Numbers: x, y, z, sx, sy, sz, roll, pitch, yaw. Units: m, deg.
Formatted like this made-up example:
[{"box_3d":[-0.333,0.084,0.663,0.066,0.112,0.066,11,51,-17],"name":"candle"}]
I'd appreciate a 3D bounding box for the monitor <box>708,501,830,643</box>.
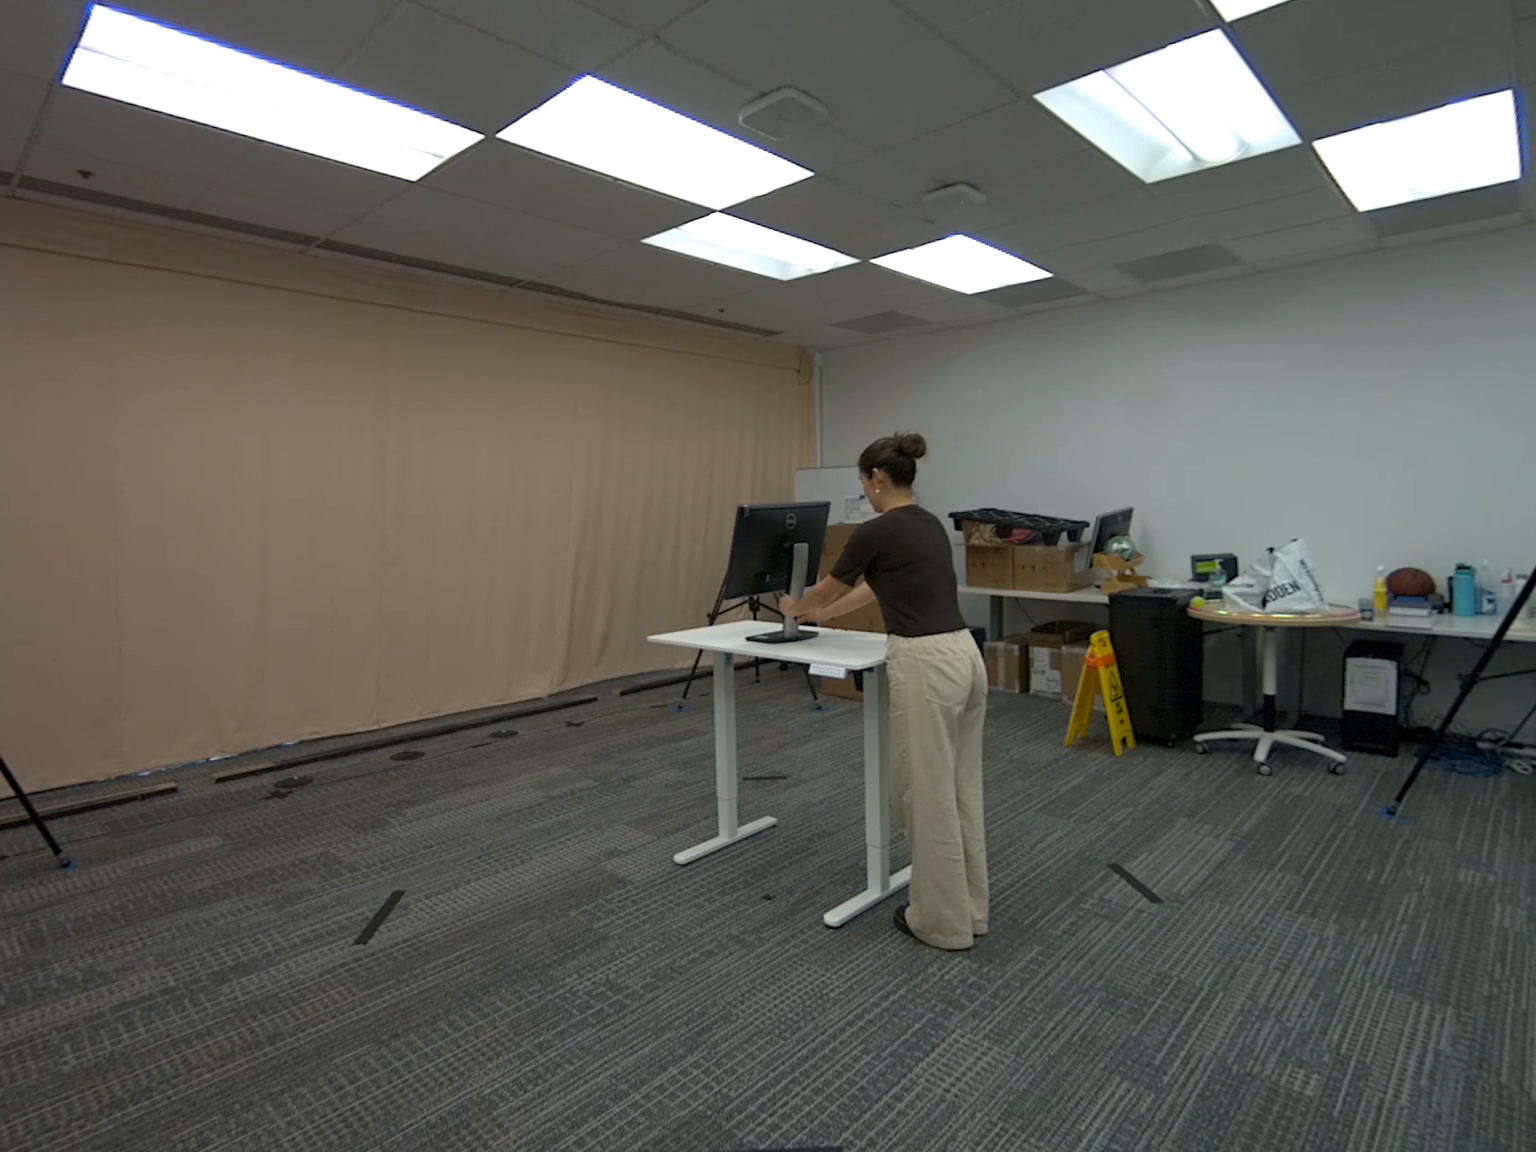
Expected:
[{"box_3d":[0.065,-0.018,3.191,0.180,0.515,0.514,-3,3,41],"name":"monitor"}]
